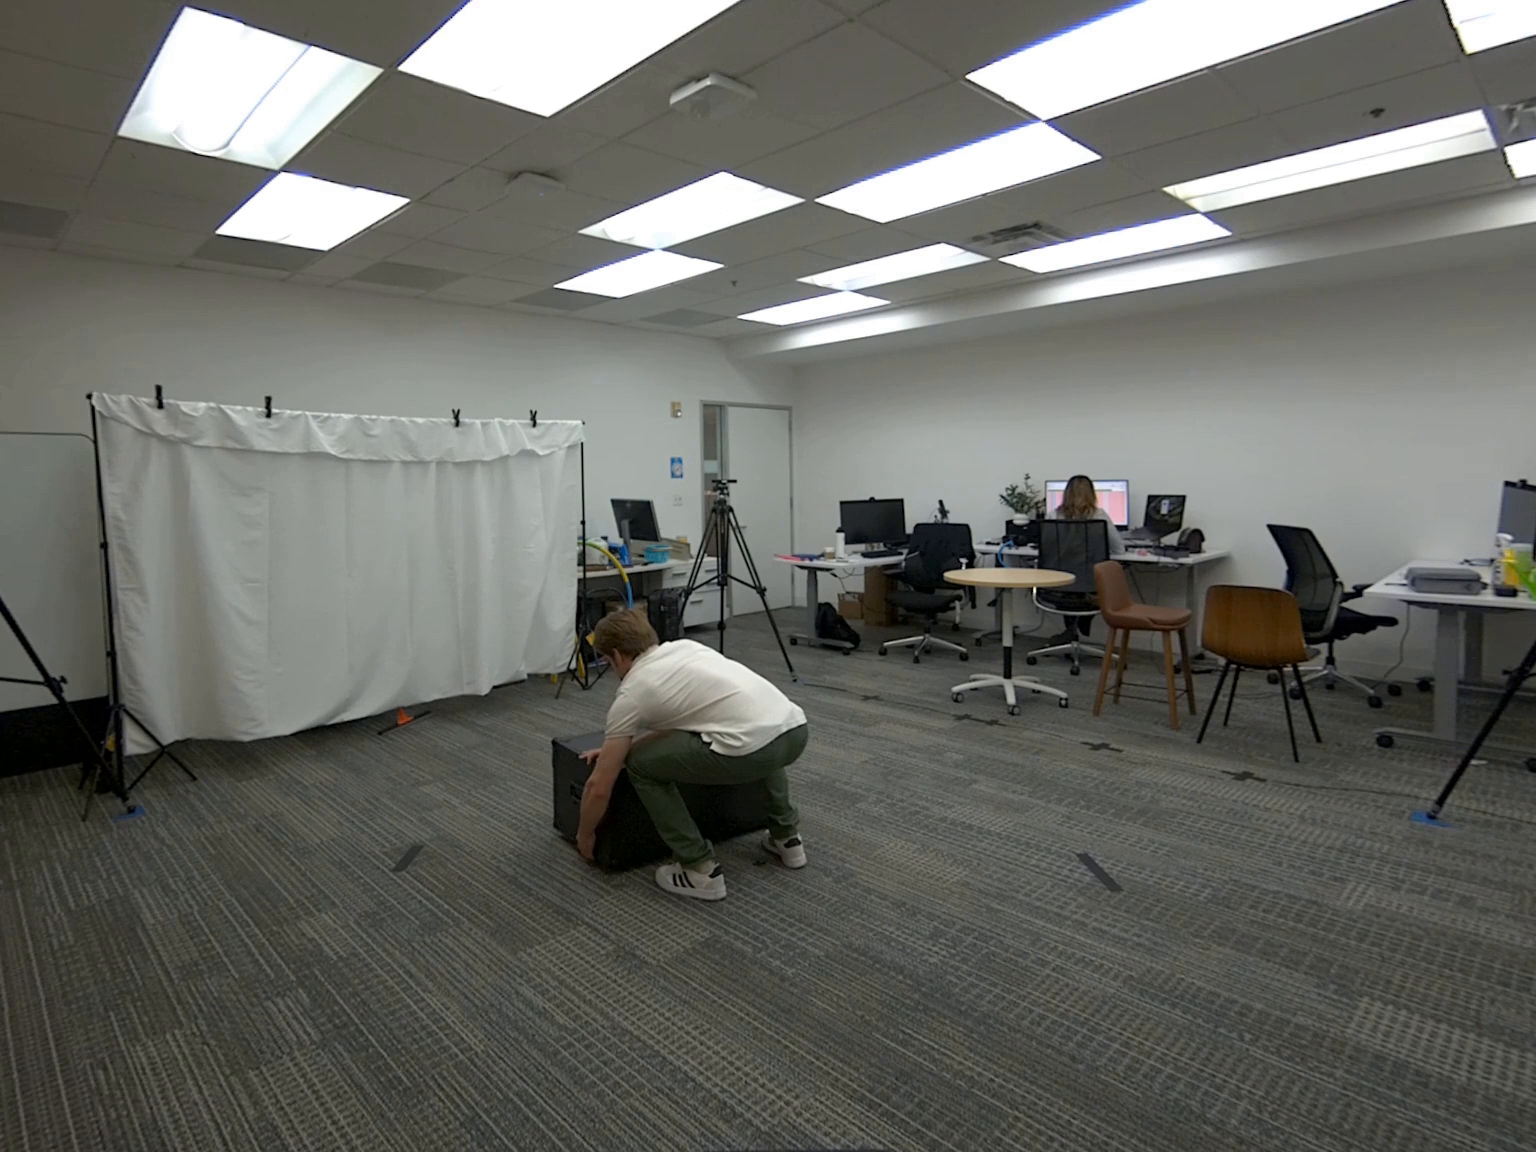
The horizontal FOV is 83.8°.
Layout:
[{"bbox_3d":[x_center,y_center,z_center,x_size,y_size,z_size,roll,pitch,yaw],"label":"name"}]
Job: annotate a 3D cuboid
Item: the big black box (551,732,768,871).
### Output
[{"bbox_3d":[-0.366,0.817,3.430,0.847,0.384,0.538,-5,5,-35],"label":"big black box"}]
